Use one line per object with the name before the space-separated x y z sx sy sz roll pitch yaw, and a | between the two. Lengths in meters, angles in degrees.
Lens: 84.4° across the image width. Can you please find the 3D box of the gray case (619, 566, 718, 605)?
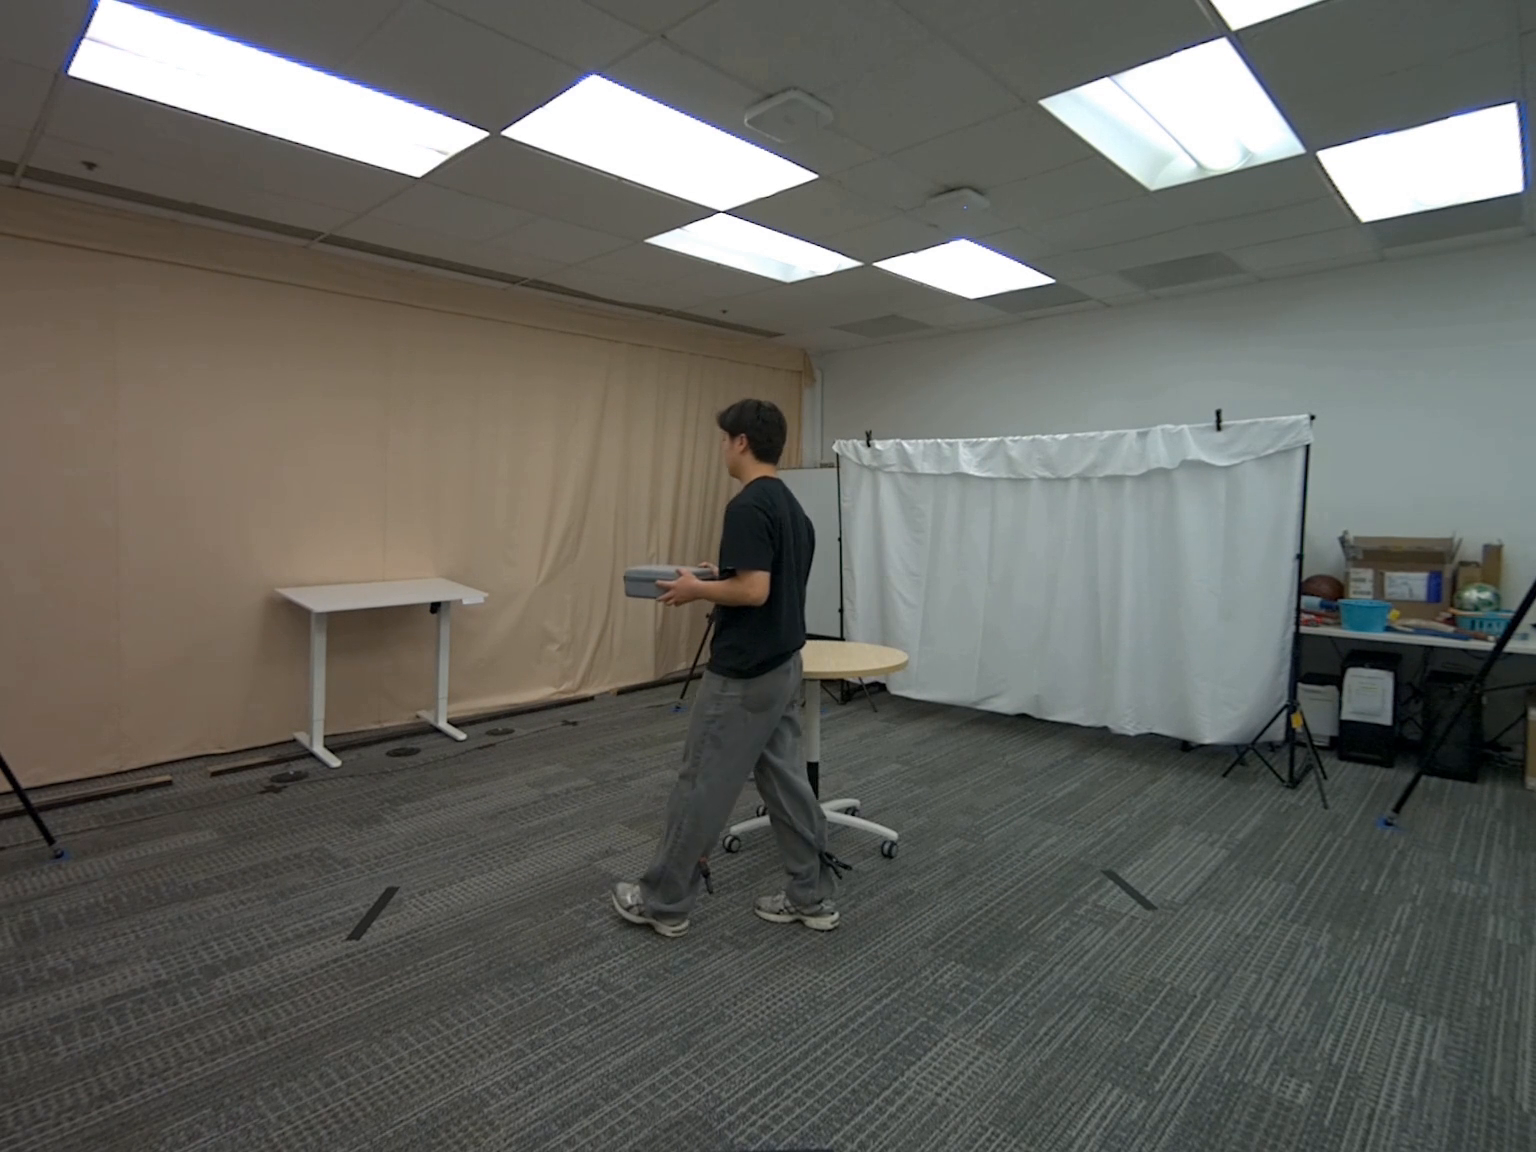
gray case | -0.331 0.028 2.873 0.290 0.103 0.261 1 4 8
